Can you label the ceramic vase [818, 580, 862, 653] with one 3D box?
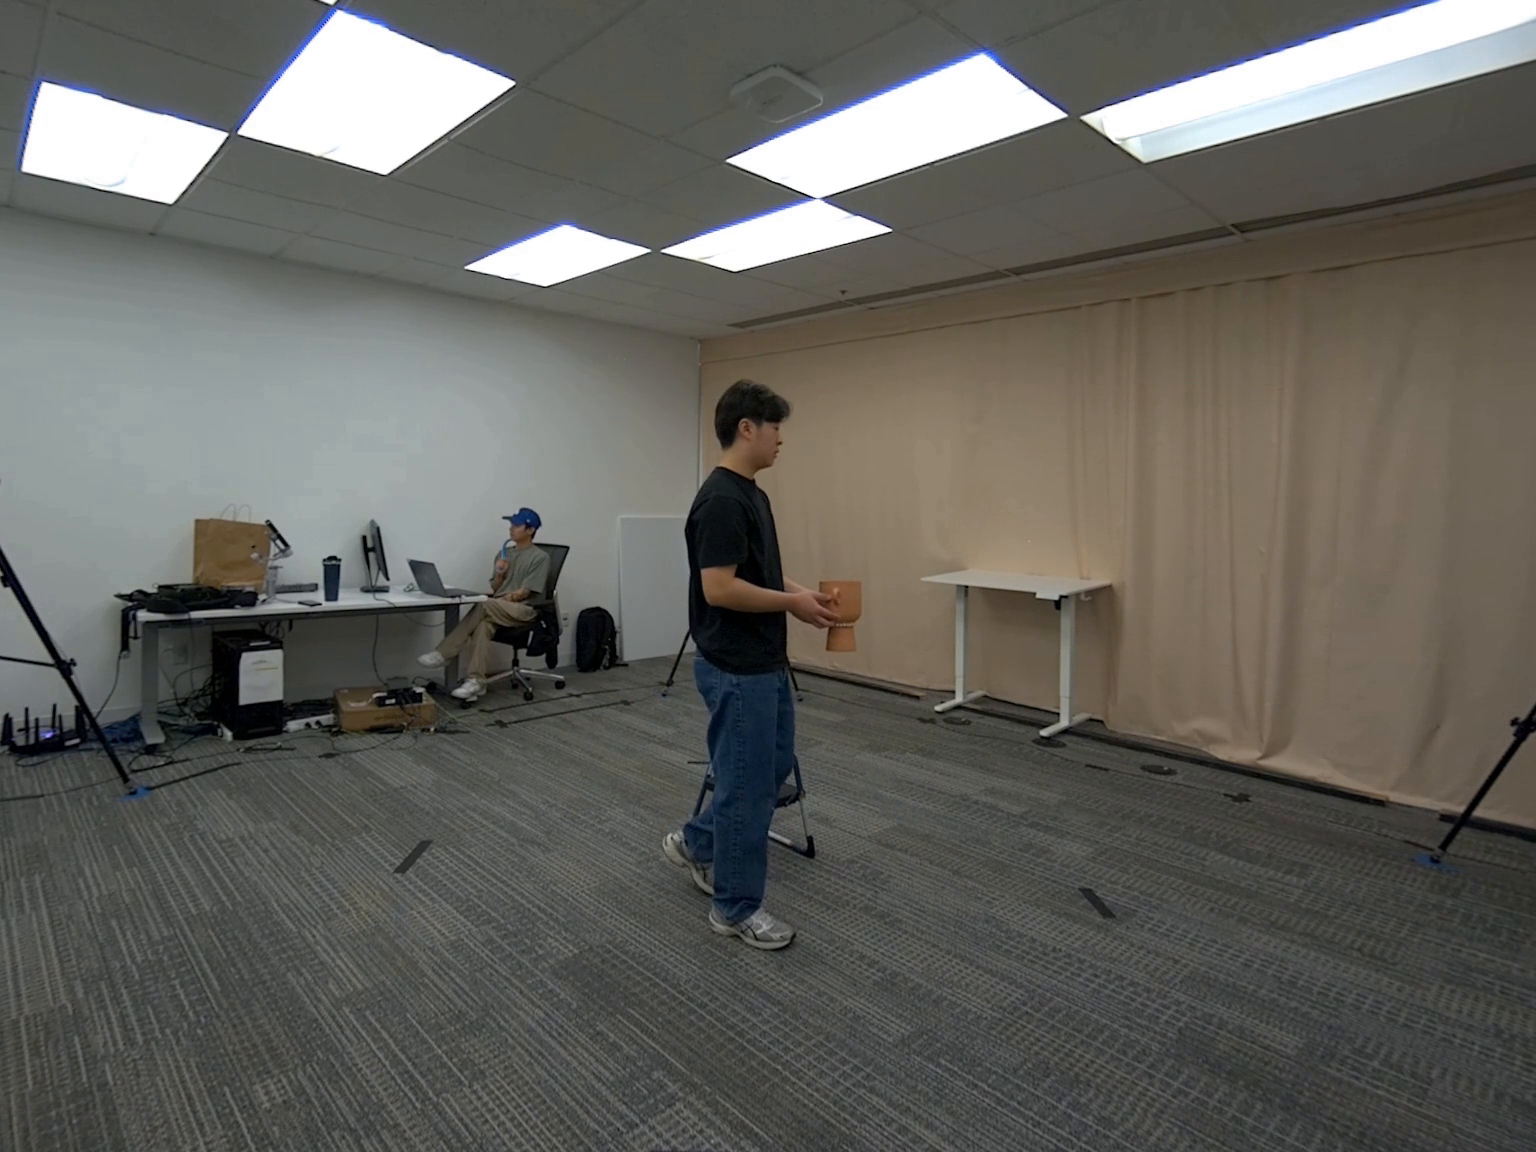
[{"bbox_3d":[0.221,0.125,2.656,0.155,0.220,0.137,0,-3,-35],"label":"ceramic vase"}]
